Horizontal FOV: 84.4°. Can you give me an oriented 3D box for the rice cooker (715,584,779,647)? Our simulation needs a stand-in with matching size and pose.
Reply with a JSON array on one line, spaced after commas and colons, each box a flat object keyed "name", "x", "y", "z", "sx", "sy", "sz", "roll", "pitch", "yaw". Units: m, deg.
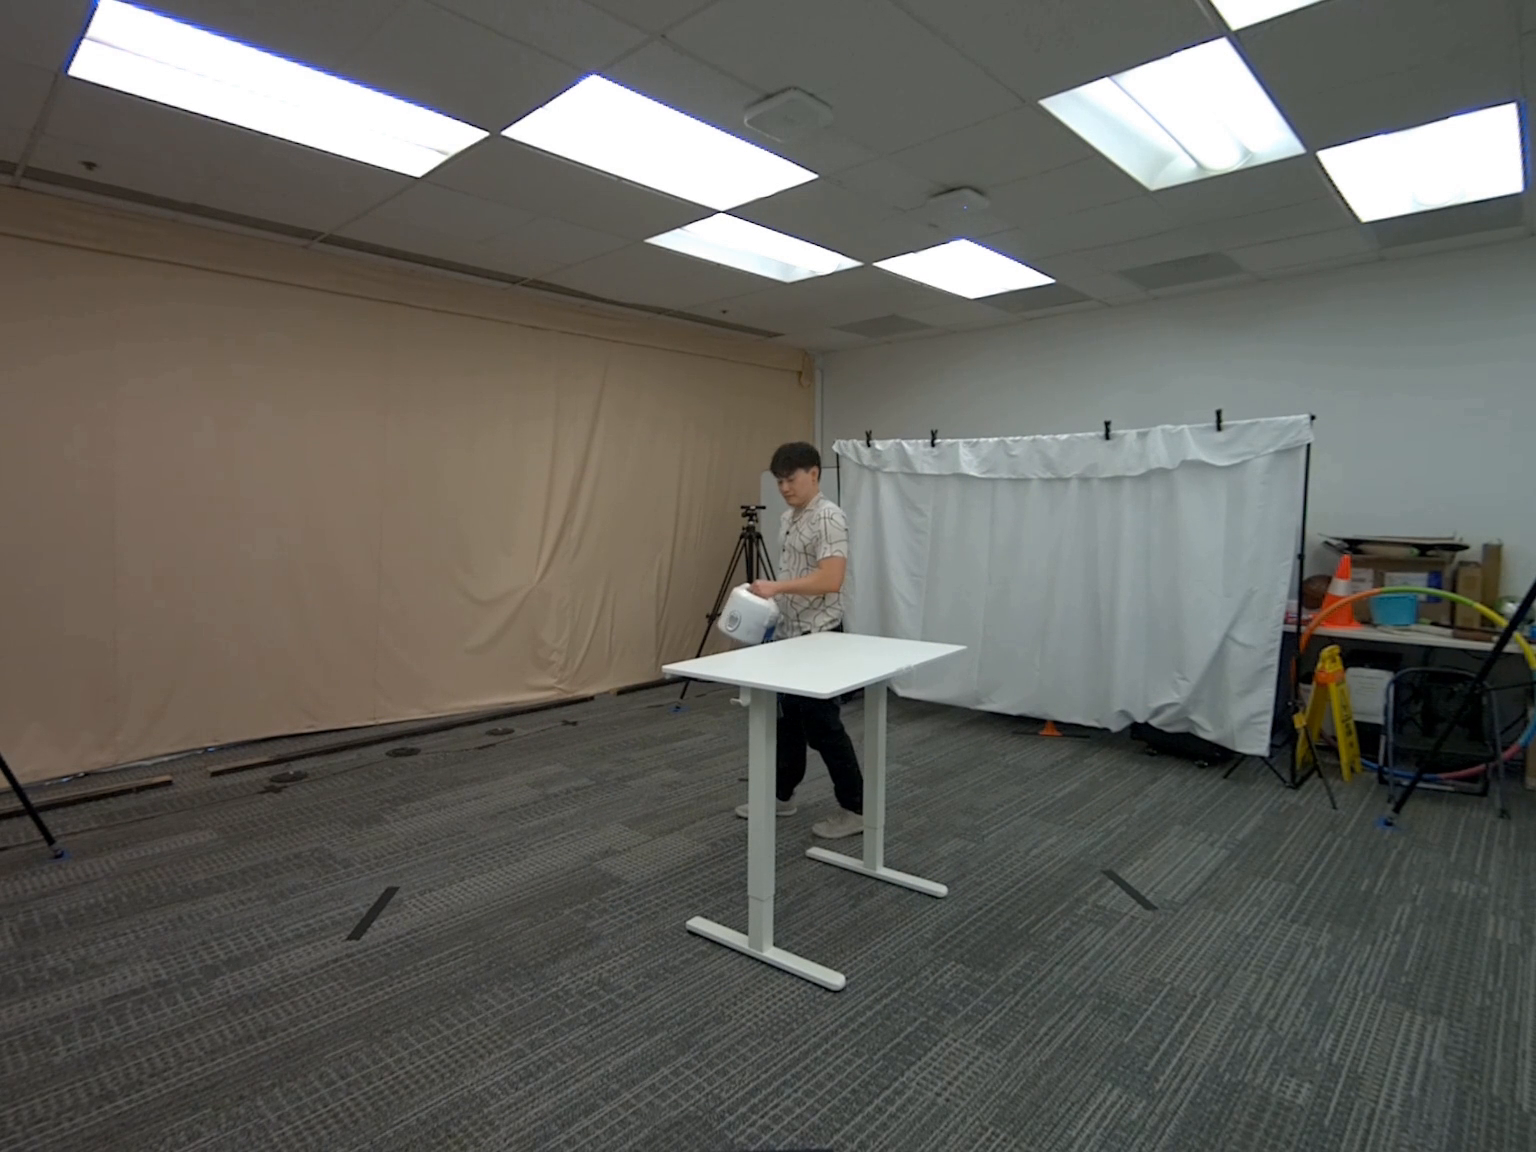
[{"name": "rice cooker", "x": -0.068, "y": 0.153, "z": 3.464, "sx": 0.228, "sy": 0.232, "sz": 0.211, "roll": 27, "pitch": 7, "yaw": 29}]
